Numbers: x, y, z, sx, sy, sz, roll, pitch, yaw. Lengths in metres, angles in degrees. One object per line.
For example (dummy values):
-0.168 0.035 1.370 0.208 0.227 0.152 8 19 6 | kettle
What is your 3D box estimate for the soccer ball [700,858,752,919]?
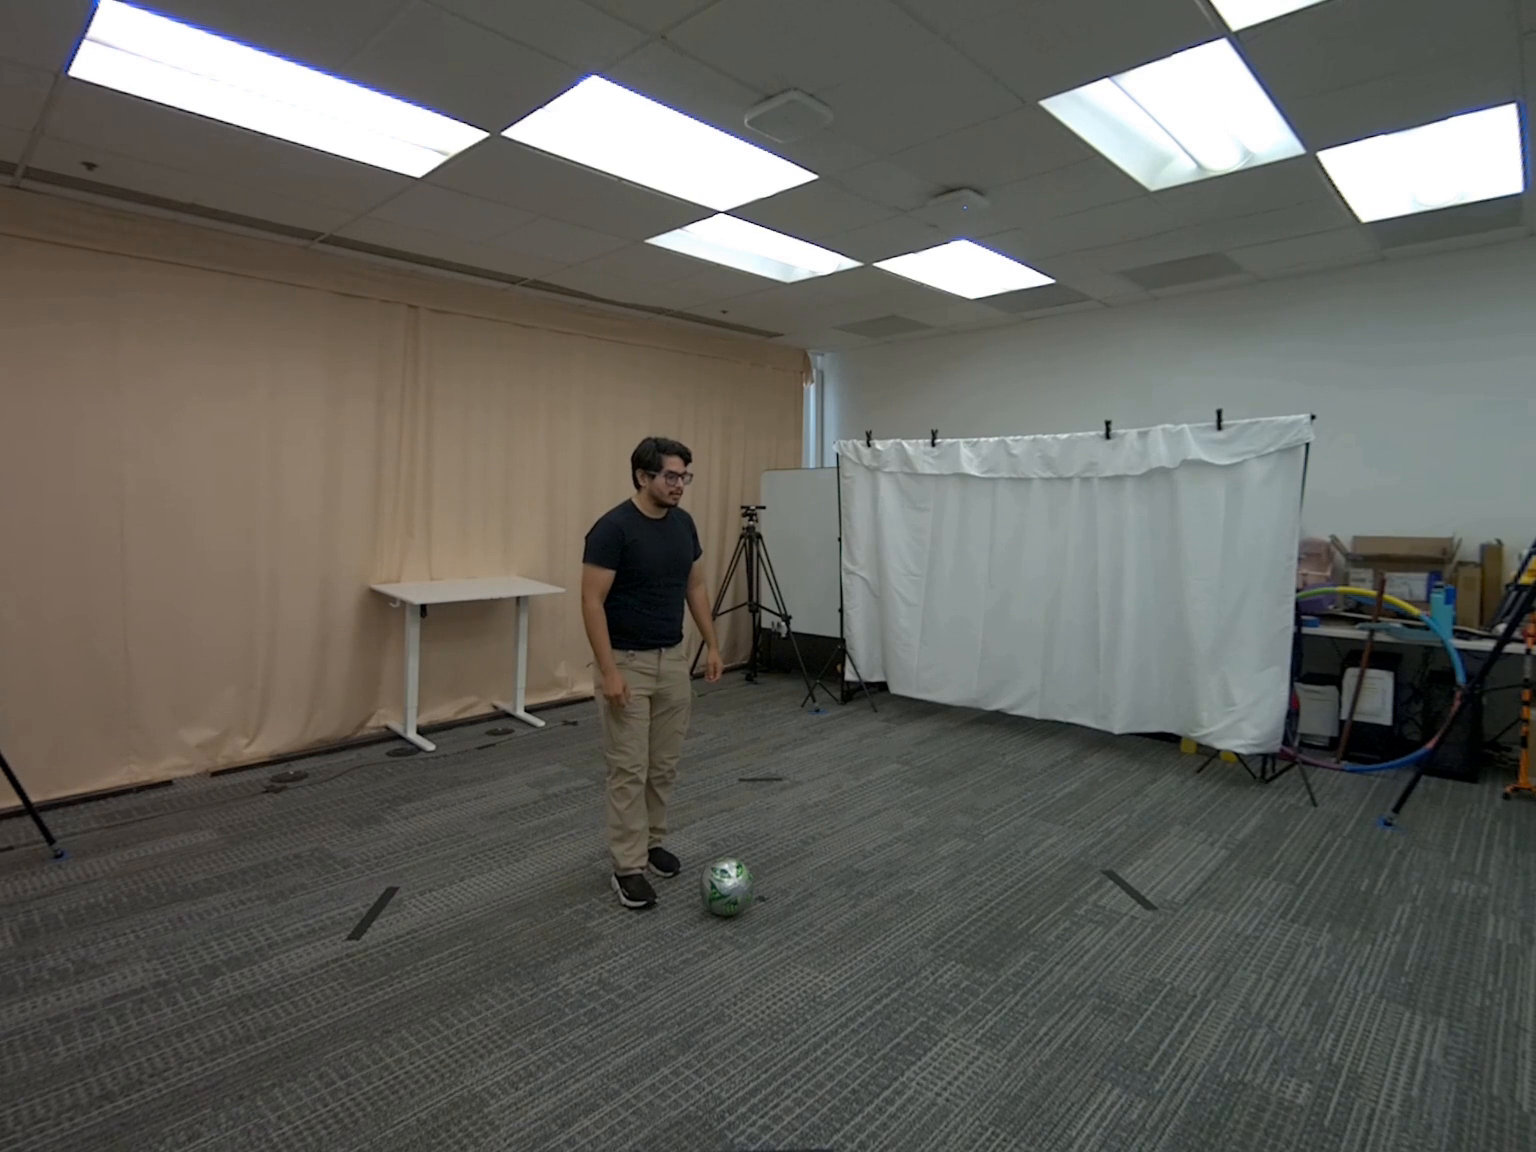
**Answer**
-0.139 1.061 2.875 0.187 0.187 0.188 0 4 -2 | soccer ball
